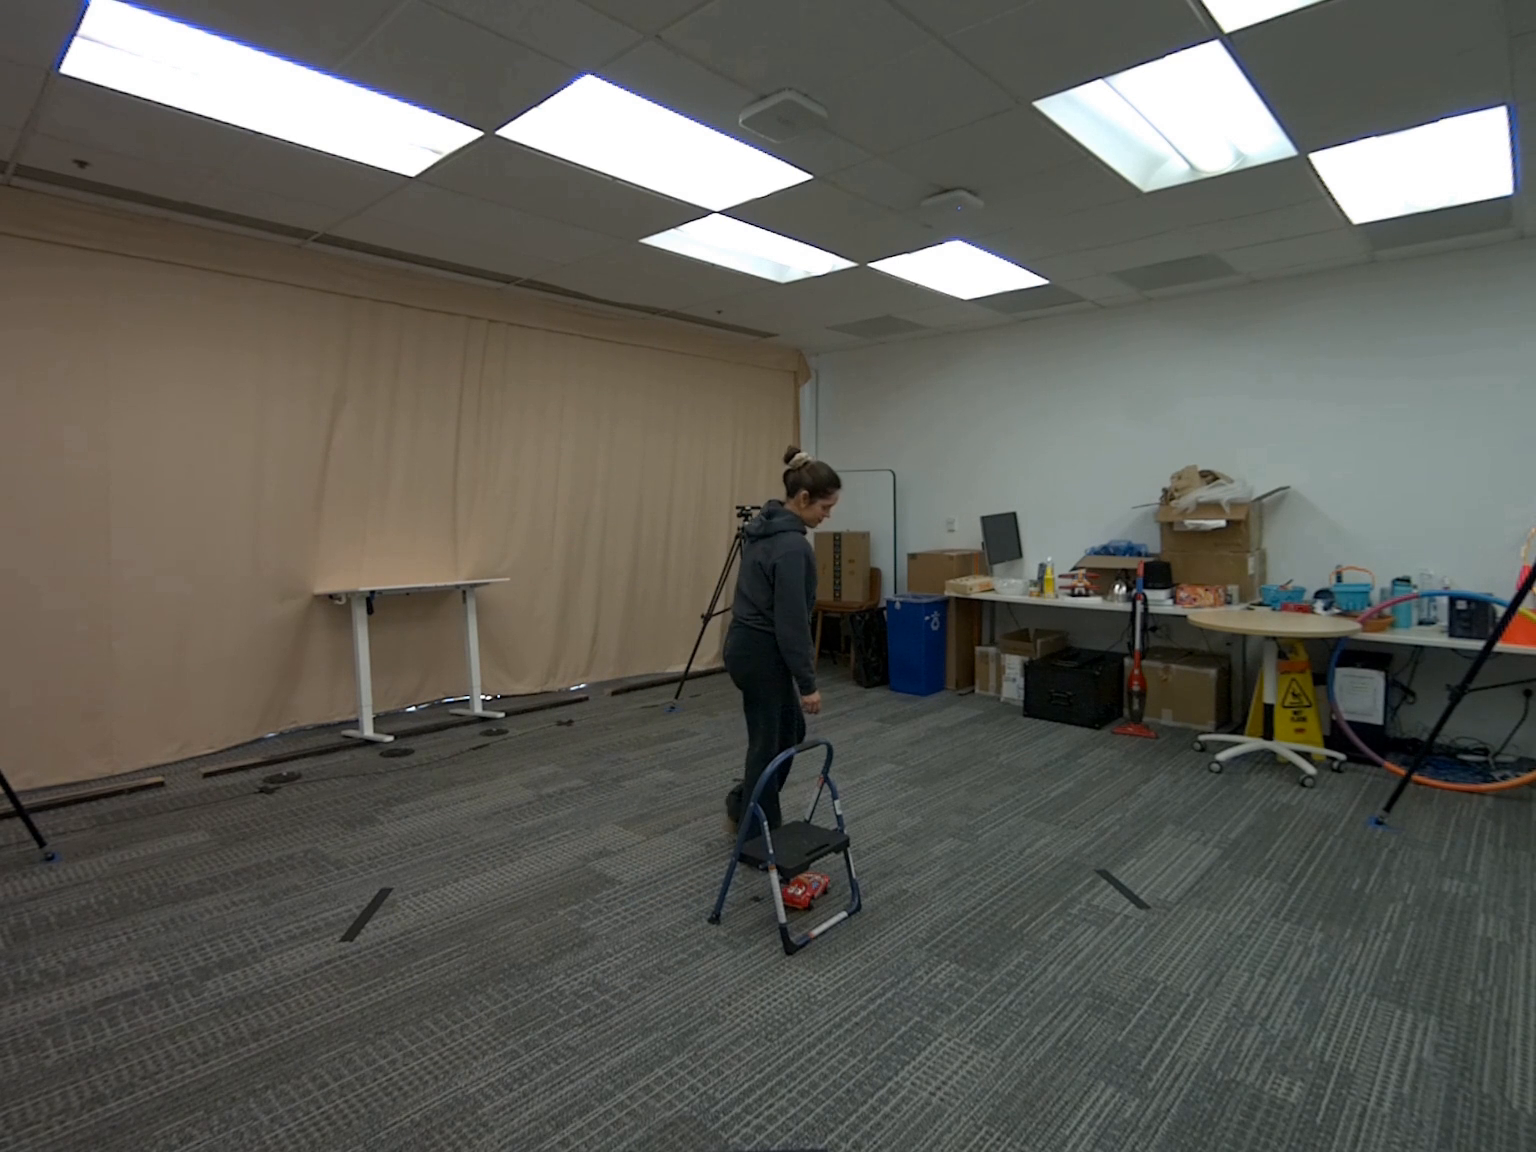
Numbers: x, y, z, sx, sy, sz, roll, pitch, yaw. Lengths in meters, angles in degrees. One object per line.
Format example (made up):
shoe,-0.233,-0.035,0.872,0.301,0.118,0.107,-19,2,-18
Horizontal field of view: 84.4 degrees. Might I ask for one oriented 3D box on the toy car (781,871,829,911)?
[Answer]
toy car,0.147,1.111,2.966,0.134,0.083,0.247,2,-5,29
